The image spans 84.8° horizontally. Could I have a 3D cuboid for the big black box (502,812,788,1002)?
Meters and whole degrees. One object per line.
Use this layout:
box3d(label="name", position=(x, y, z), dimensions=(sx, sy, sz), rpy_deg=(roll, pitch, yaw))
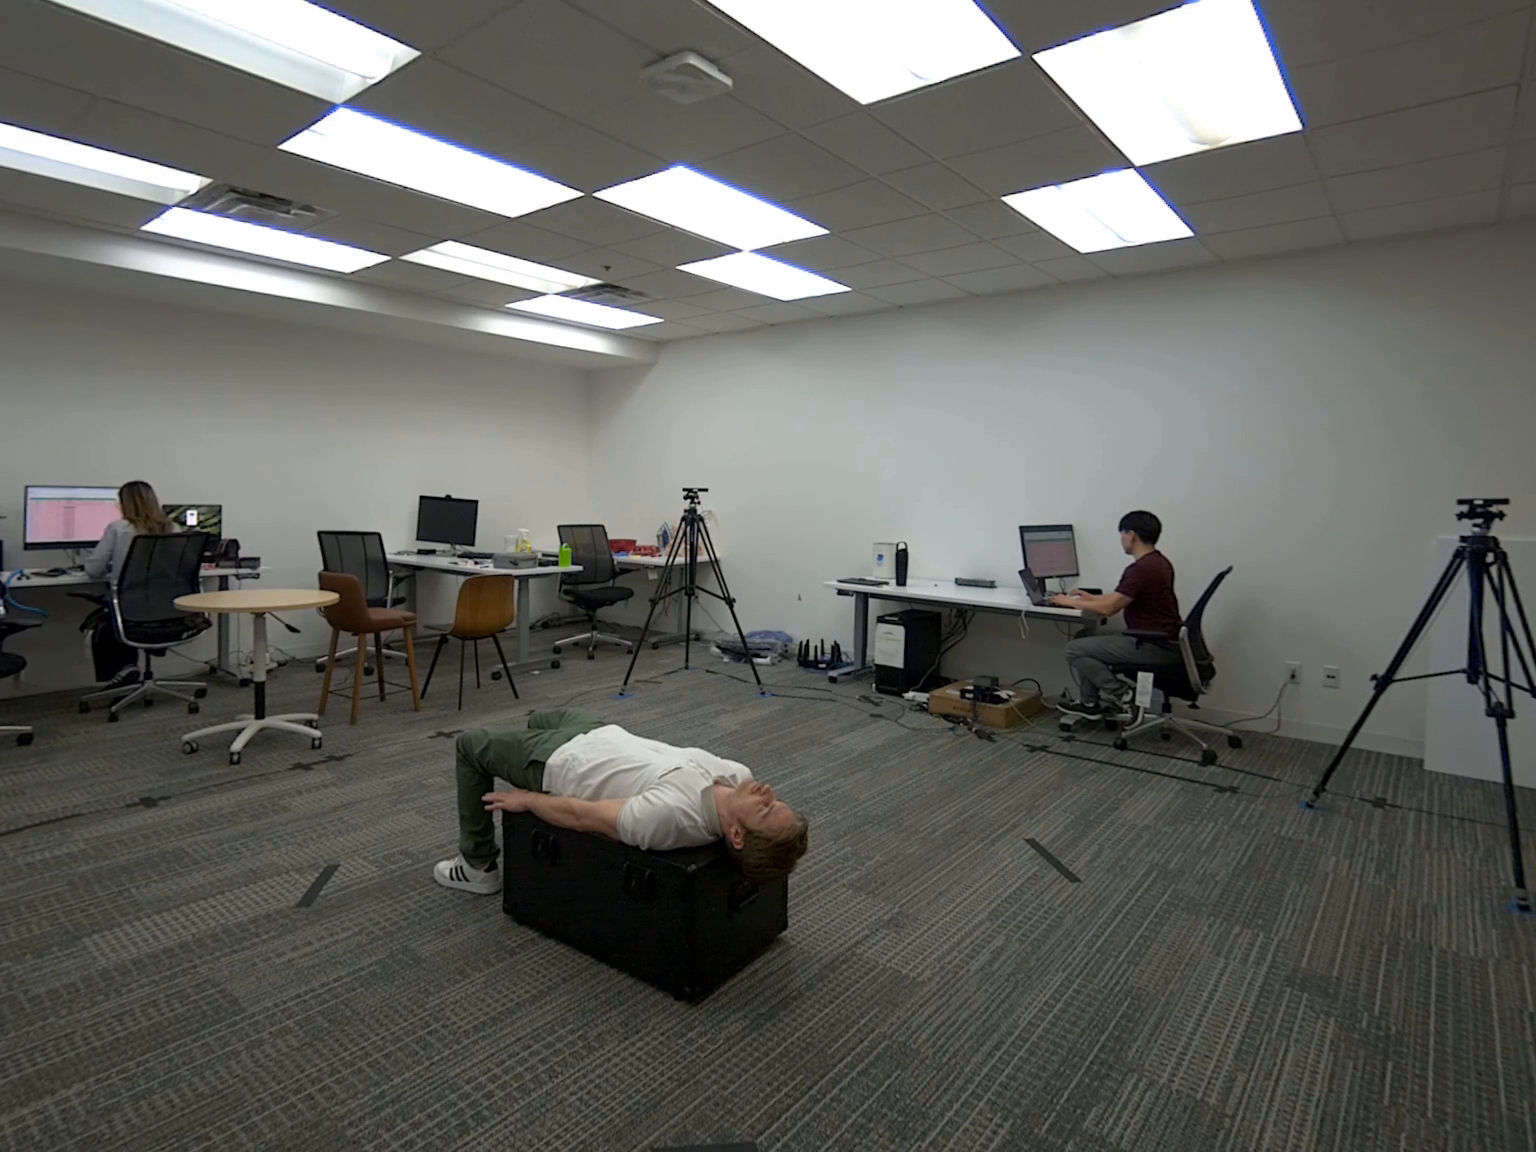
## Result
box3d(label="big black box", position=(-0.427, 0.918, 2.704), dimensions=(0.896, 0.384, 0.509), rpy_deg=(4, 6, 36))
